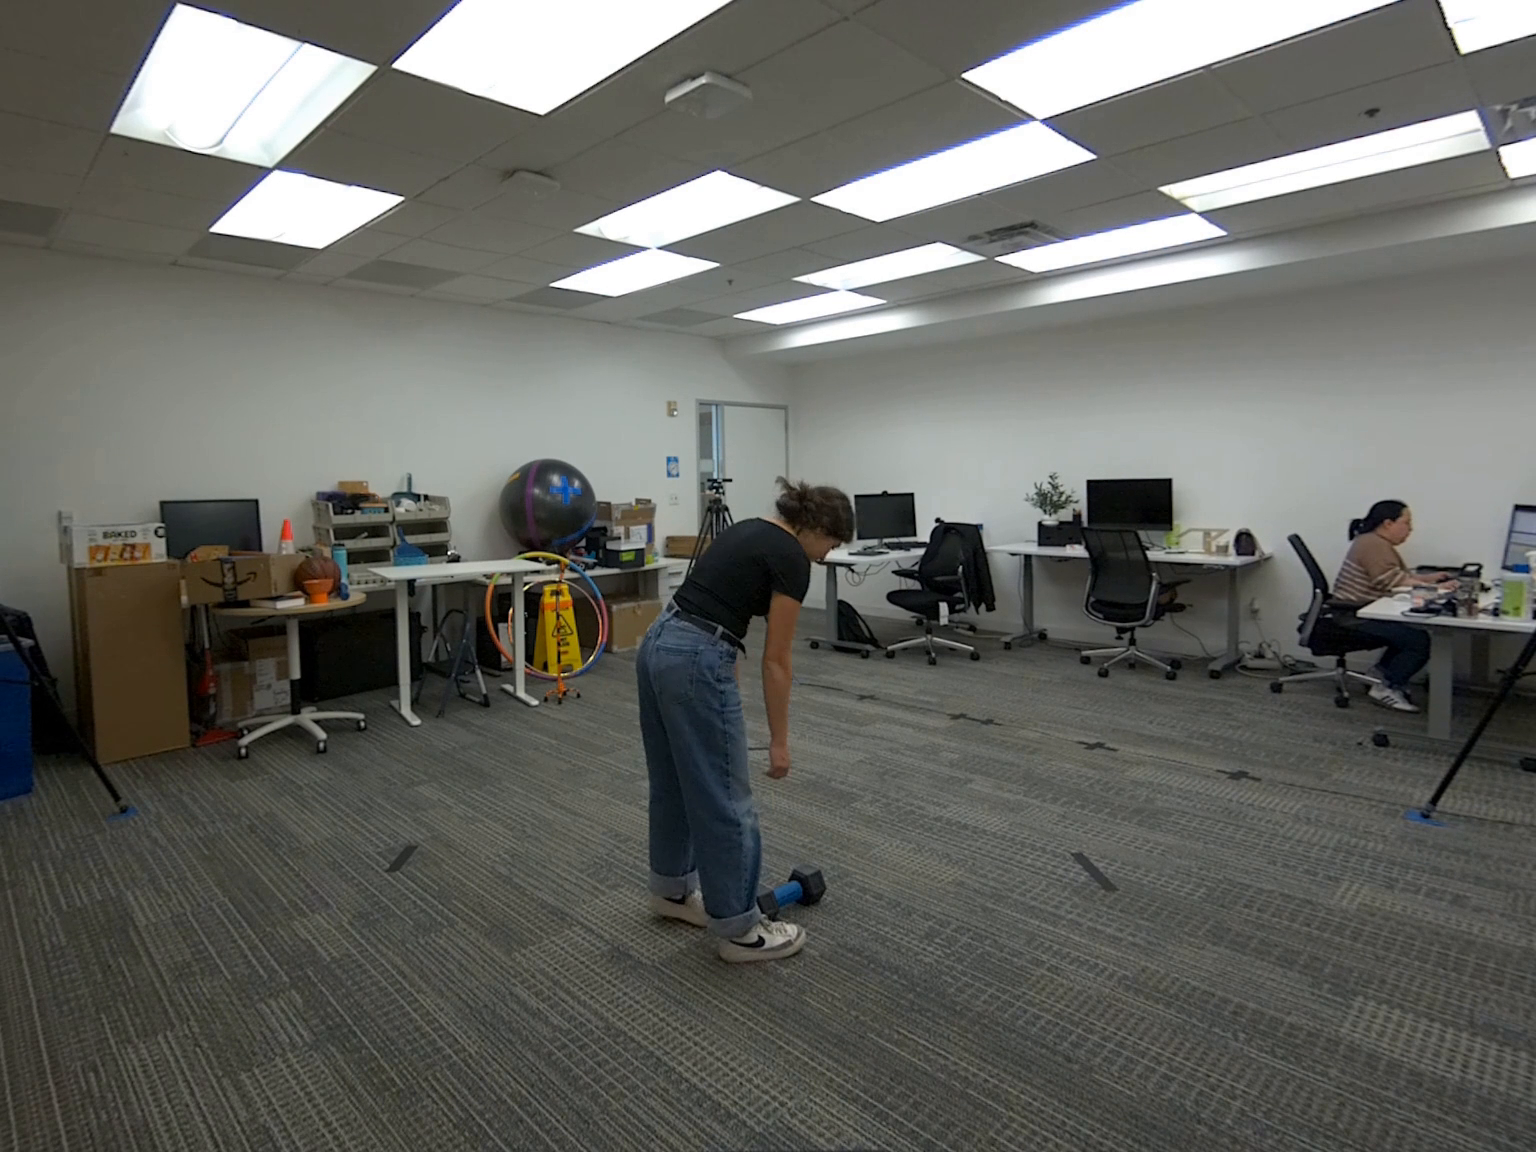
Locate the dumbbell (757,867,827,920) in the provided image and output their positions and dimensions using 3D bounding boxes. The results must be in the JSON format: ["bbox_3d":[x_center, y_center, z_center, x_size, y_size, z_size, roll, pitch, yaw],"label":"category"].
[{"bbox_3d":[0.058,1.030,2.757,0.286,0.121,0.113,-8,39,-42],"label":"dumbbell"}]
